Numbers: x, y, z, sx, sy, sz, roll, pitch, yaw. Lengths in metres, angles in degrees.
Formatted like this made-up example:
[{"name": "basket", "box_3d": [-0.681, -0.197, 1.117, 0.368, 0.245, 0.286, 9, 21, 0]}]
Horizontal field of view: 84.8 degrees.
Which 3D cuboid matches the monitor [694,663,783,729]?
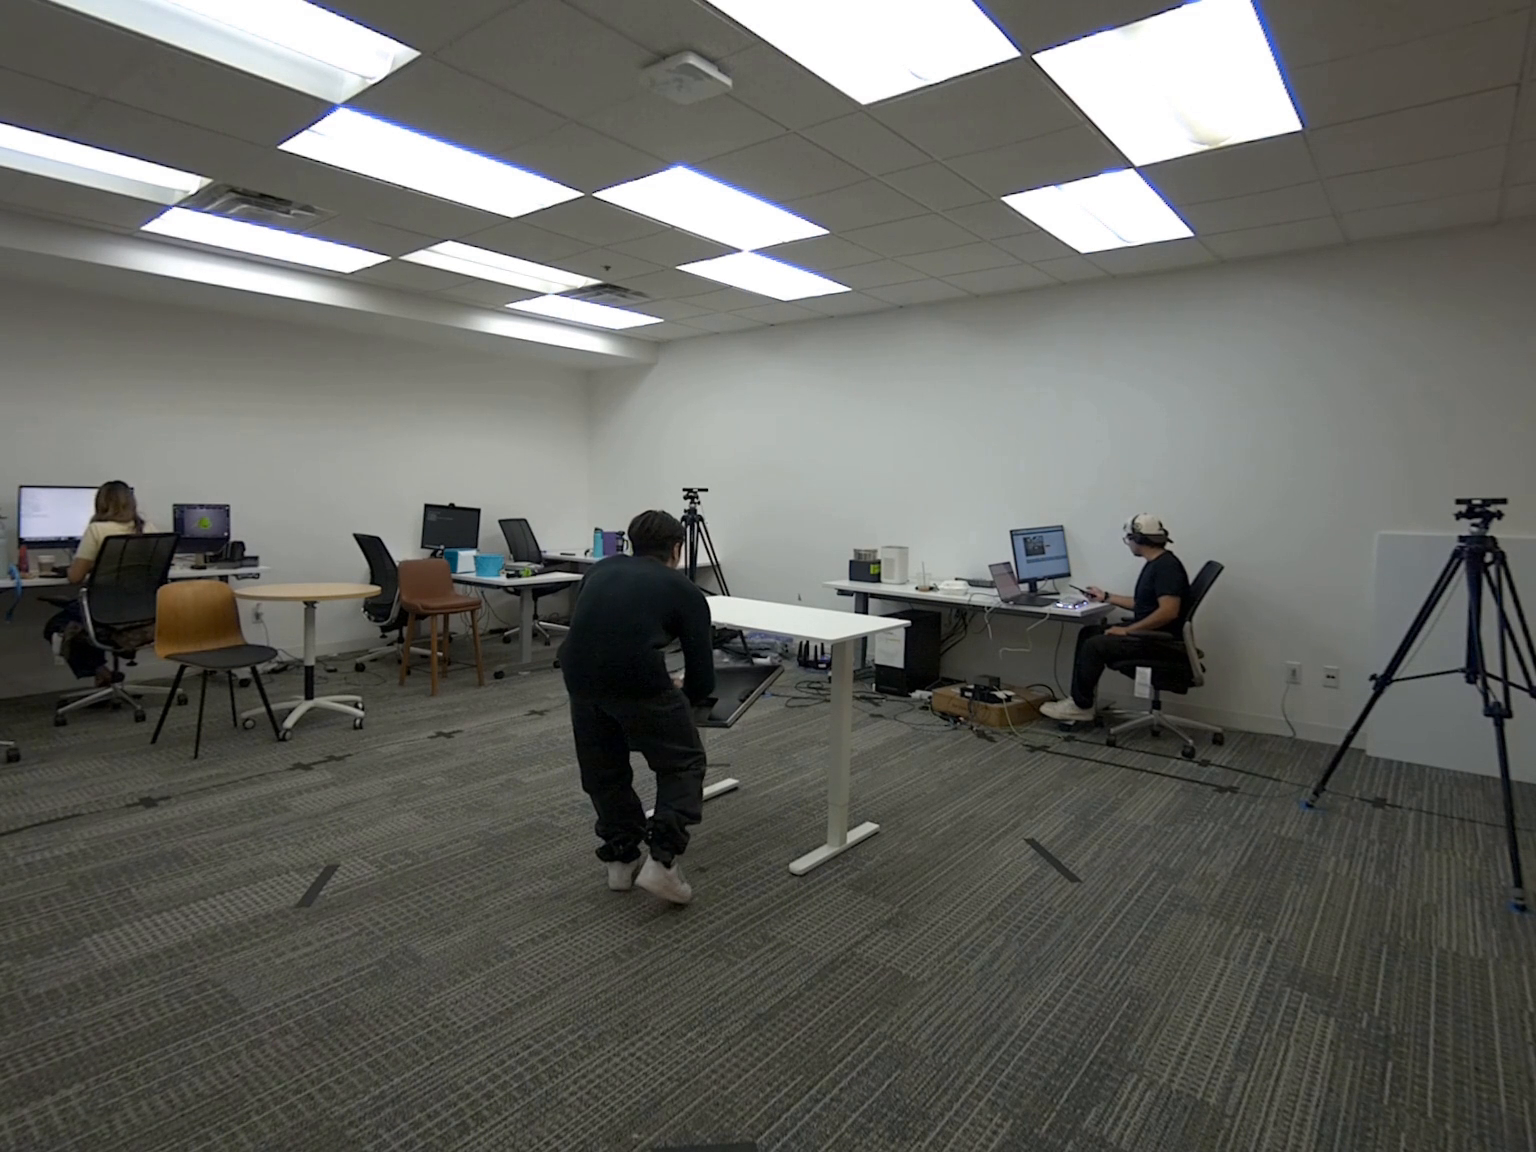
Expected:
[{"name": "monitor", "box_3d": [-0.314, 0.455, 3.195, 0.544, 0.174, 0.504, -8, 7, 44]}]
